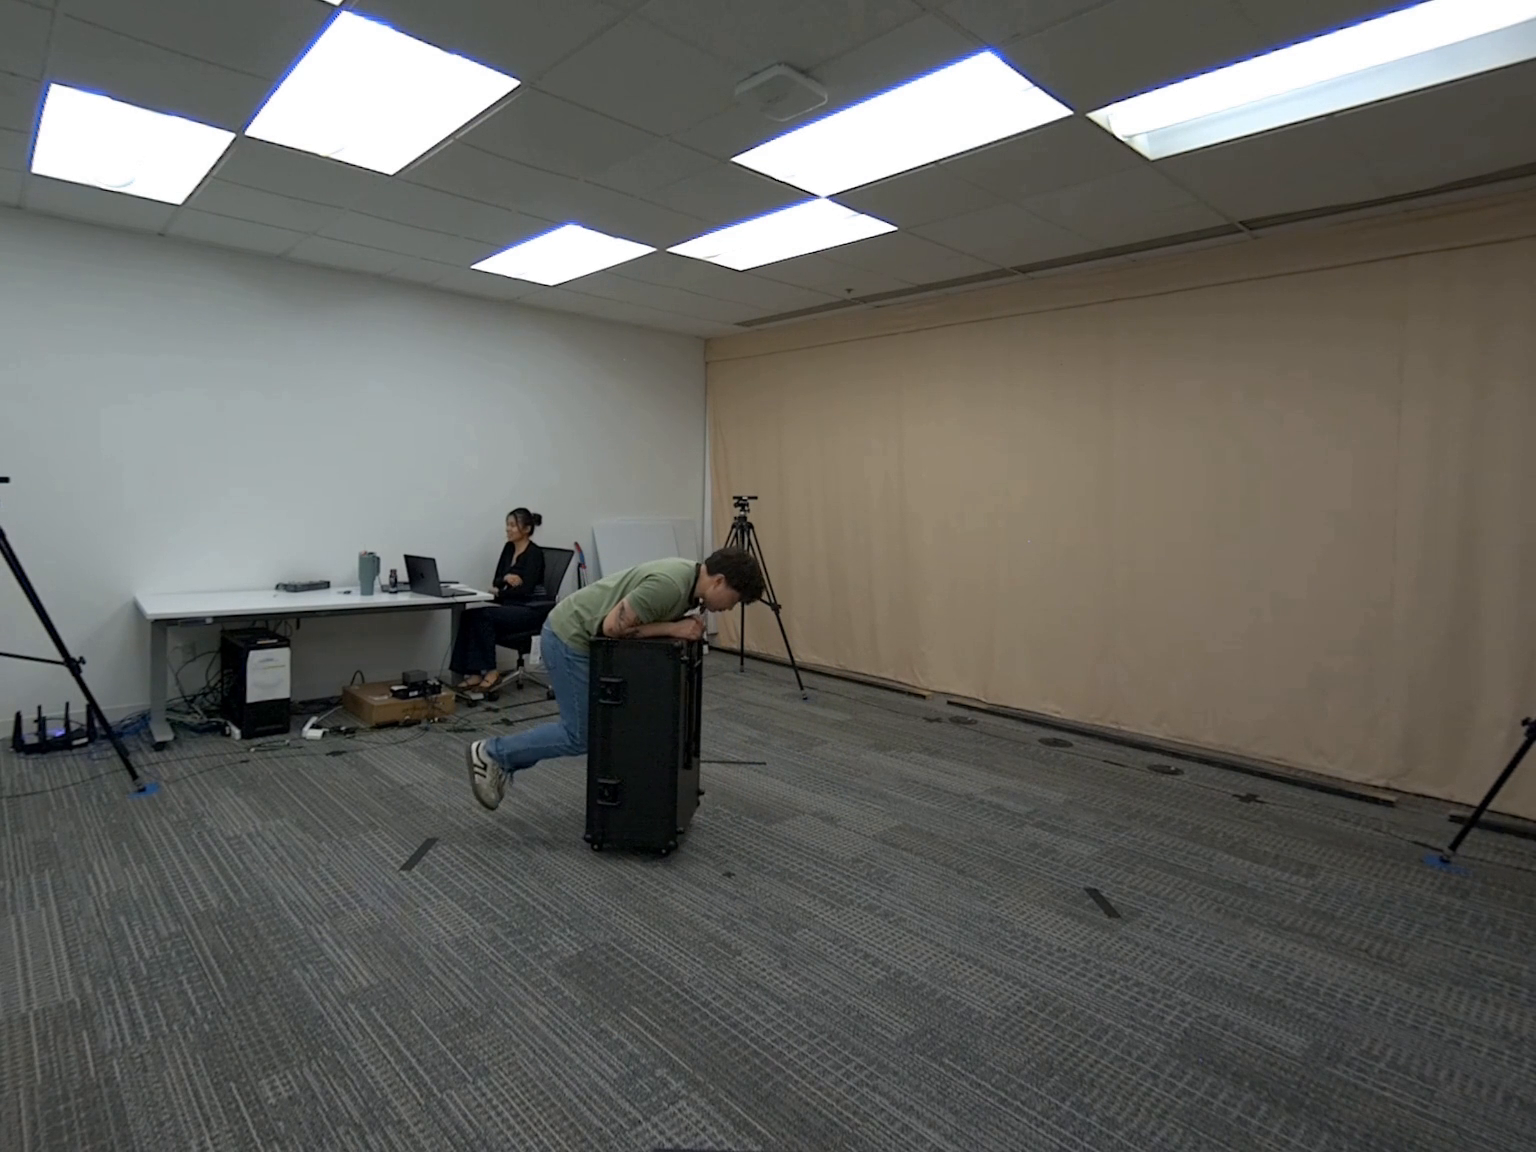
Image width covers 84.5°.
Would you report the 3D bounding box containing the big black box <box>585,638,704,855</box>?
[{"bbox_3d":[-0.486,0.649,3.396,0.399,0.859,0.519,3,4,7],"label":"big black box"}]
